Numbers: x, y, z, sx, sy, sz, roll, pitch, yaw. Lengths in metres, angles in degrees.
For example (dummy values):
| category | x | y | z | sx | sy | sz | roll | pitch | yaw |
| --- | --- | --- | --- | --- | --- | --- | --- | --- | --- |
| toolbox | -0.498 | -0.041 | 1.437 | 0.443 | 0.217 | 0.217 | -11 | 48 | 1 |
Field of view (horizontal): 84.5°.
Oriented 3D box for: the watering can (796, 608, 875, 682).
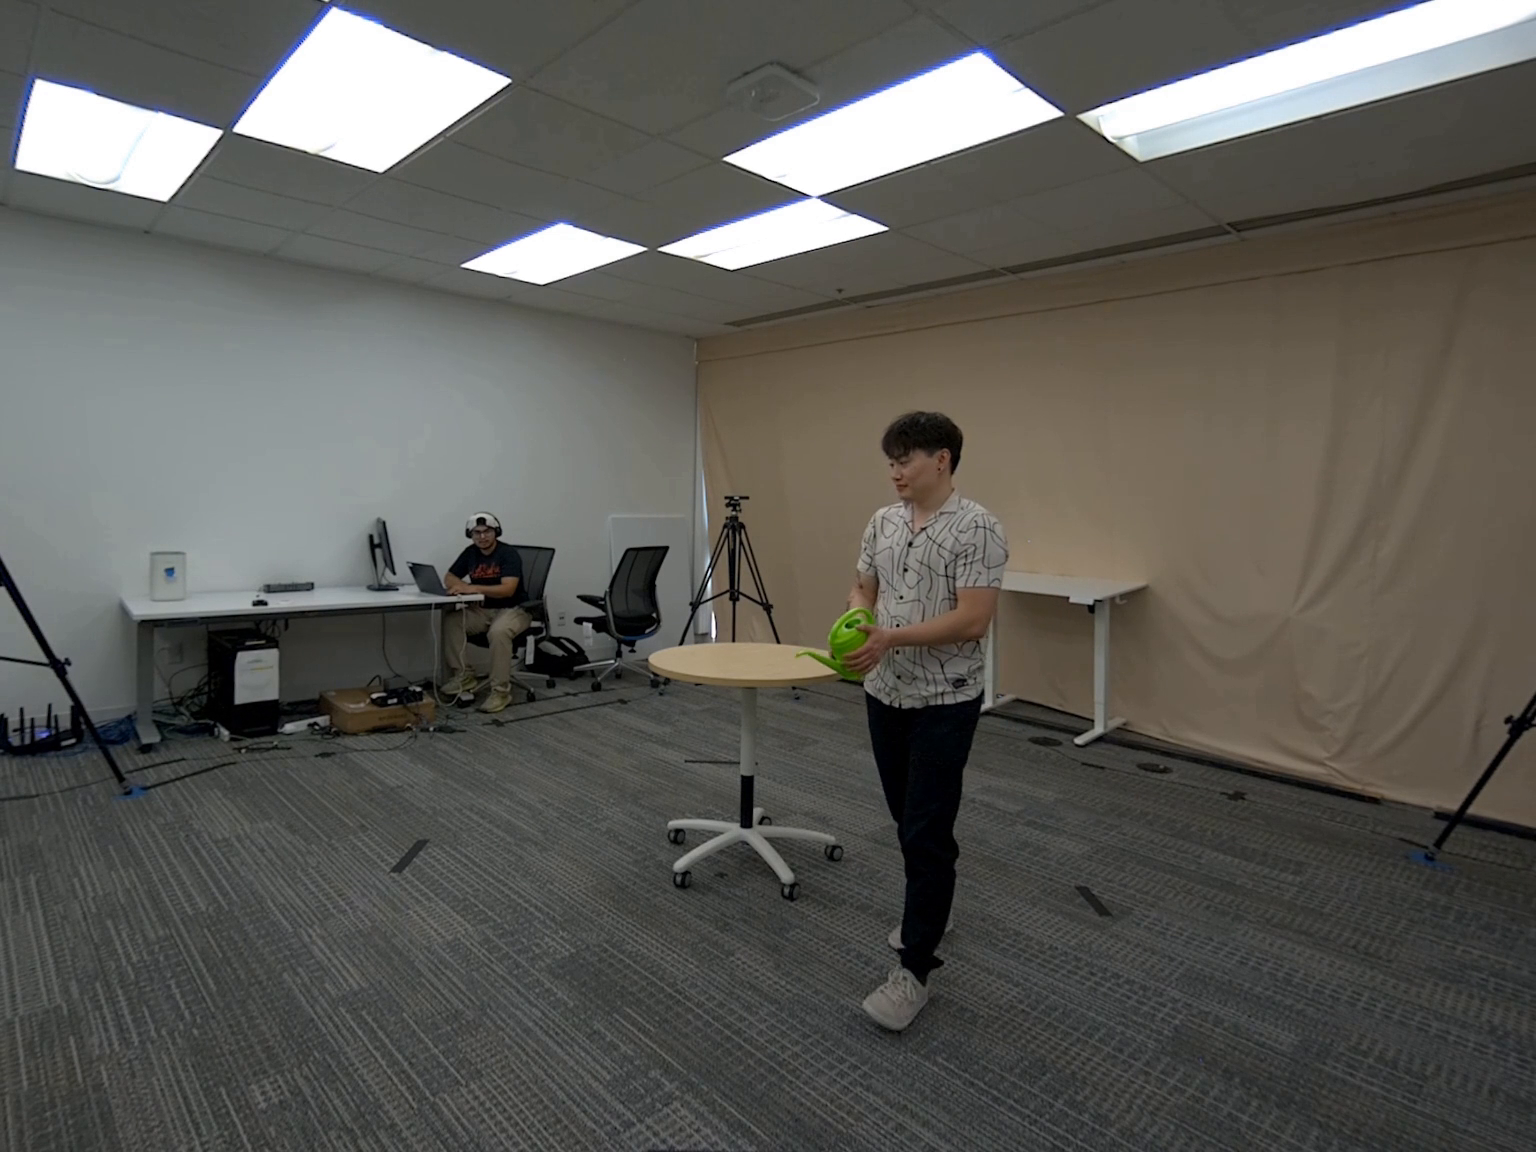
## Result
| category | x | y | z | sx | sy | sz | roll | pitch | yaw |
| --- | --- | --- | --- | --- | --- | --- | --- | --- | --- |
| watering can | 0.198 | 0.206 | 2.373 | 0.277 | 0.173 | 0.100 | -29 | 25 | -16 |
